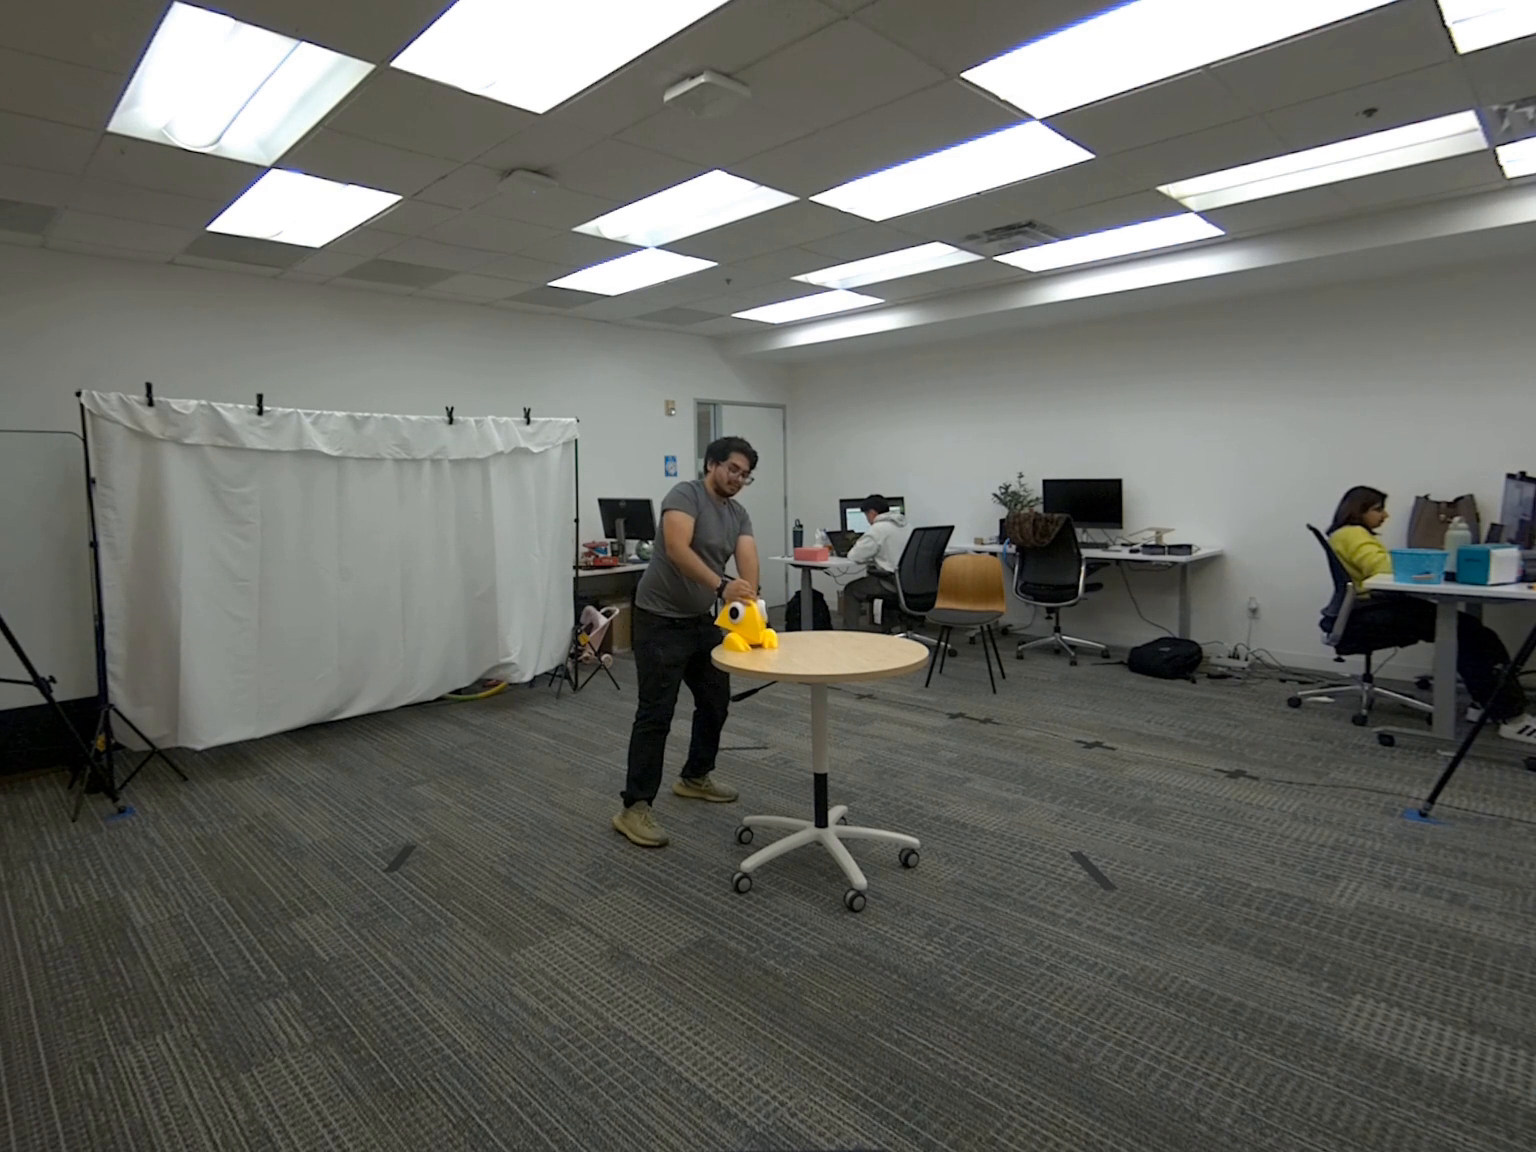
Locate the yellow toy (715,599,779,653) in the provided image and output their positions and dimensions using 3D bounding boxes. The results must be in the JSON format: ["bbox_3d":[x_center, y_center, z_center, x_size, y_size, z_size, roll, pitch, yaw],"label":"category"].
[{"bbox_3d":[-0.066,0.147,3.150,0.201,0.229,0.197,-4,6,-22],"label":"yellow toy"}]
